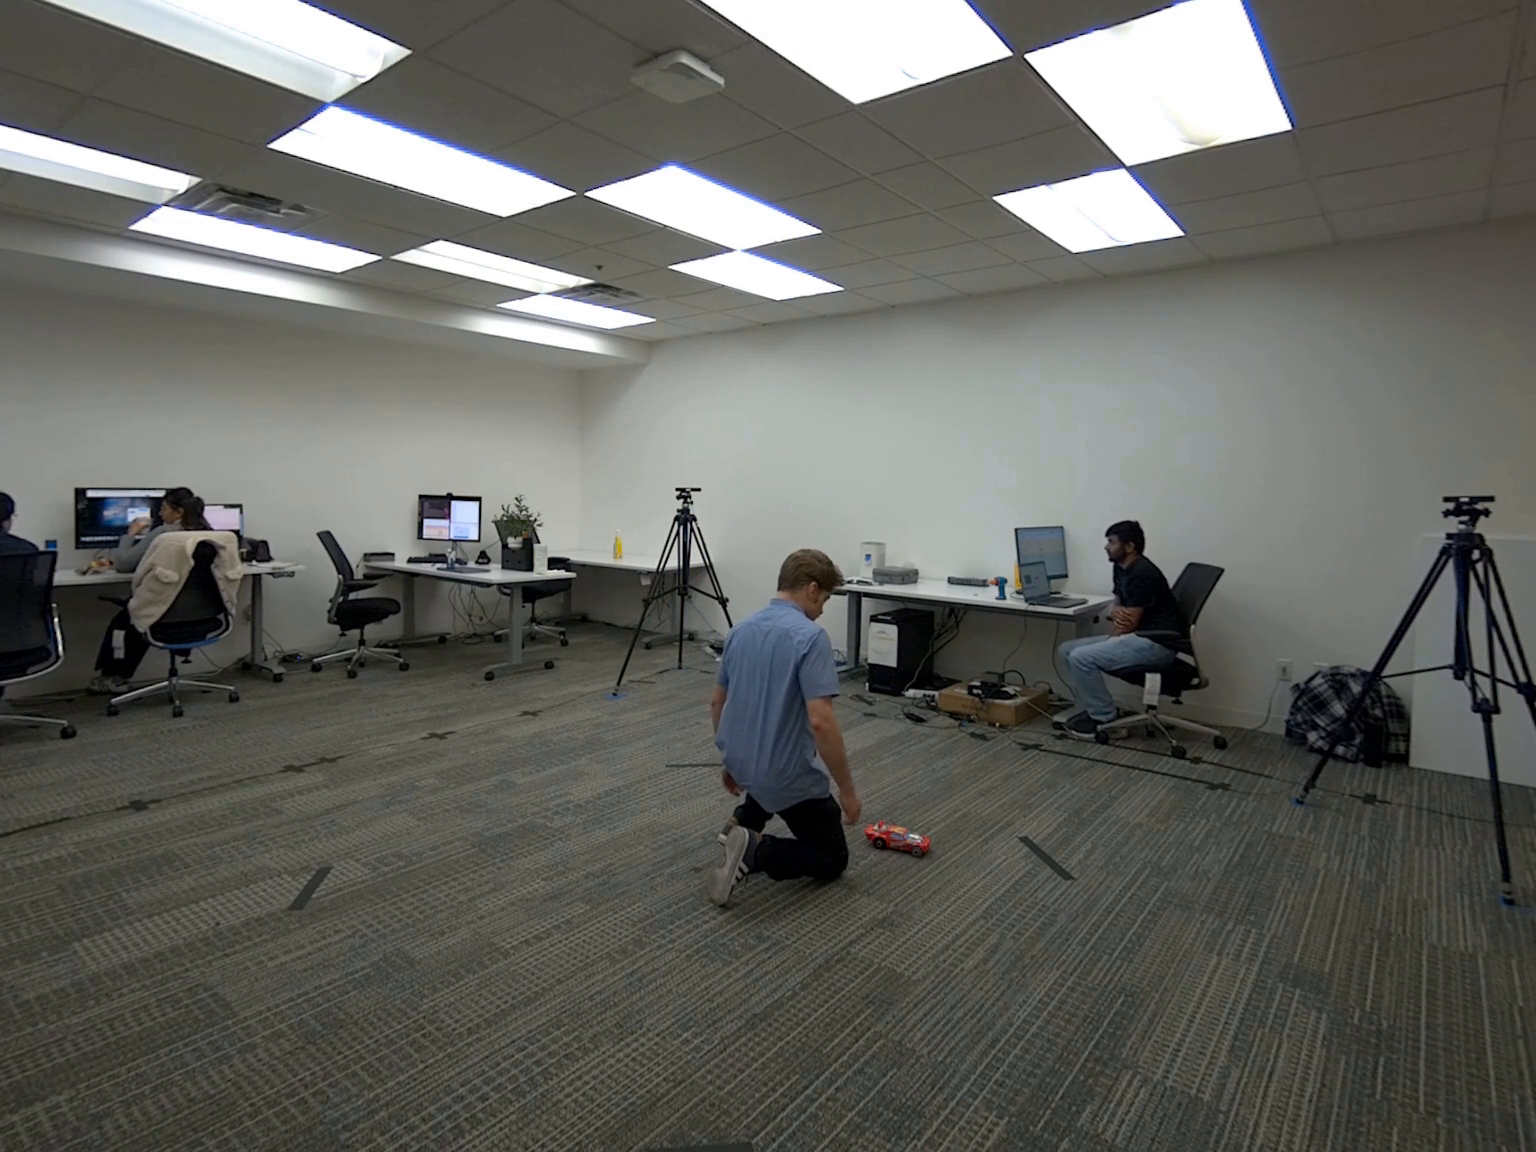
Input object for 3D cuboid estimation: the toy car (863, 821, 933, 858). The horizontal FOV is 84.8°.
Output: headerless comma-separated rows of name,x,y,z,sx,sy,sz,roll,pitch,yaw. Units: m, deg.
toy car,0.496,1.032,3.340,0.262,0.083,0.127,16,9,22
